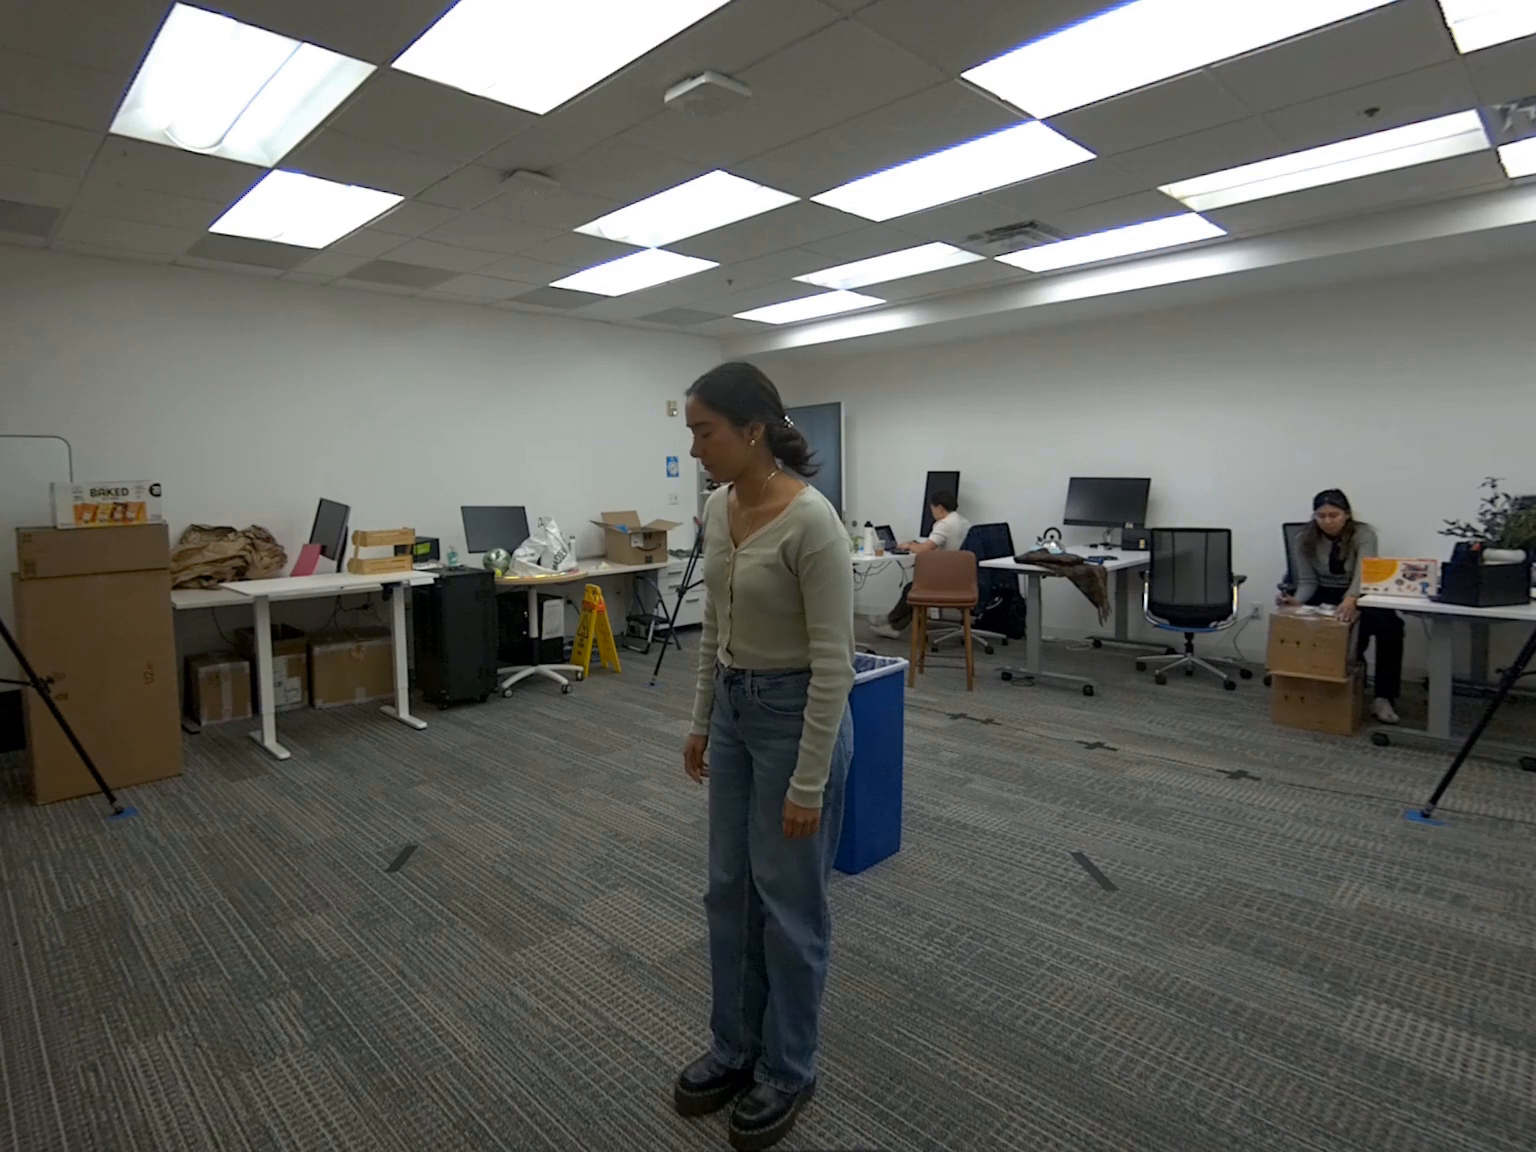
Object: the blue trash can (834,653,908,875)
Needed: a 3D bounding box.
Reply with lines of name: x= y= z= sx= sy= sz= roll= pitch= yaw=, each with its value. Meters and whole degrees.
blue trash can: x=0.284 y=0.673 z=3.169 sx=0.389 sy=0.711 sz=0.364 roll=2 pitch=5 yaw=44
